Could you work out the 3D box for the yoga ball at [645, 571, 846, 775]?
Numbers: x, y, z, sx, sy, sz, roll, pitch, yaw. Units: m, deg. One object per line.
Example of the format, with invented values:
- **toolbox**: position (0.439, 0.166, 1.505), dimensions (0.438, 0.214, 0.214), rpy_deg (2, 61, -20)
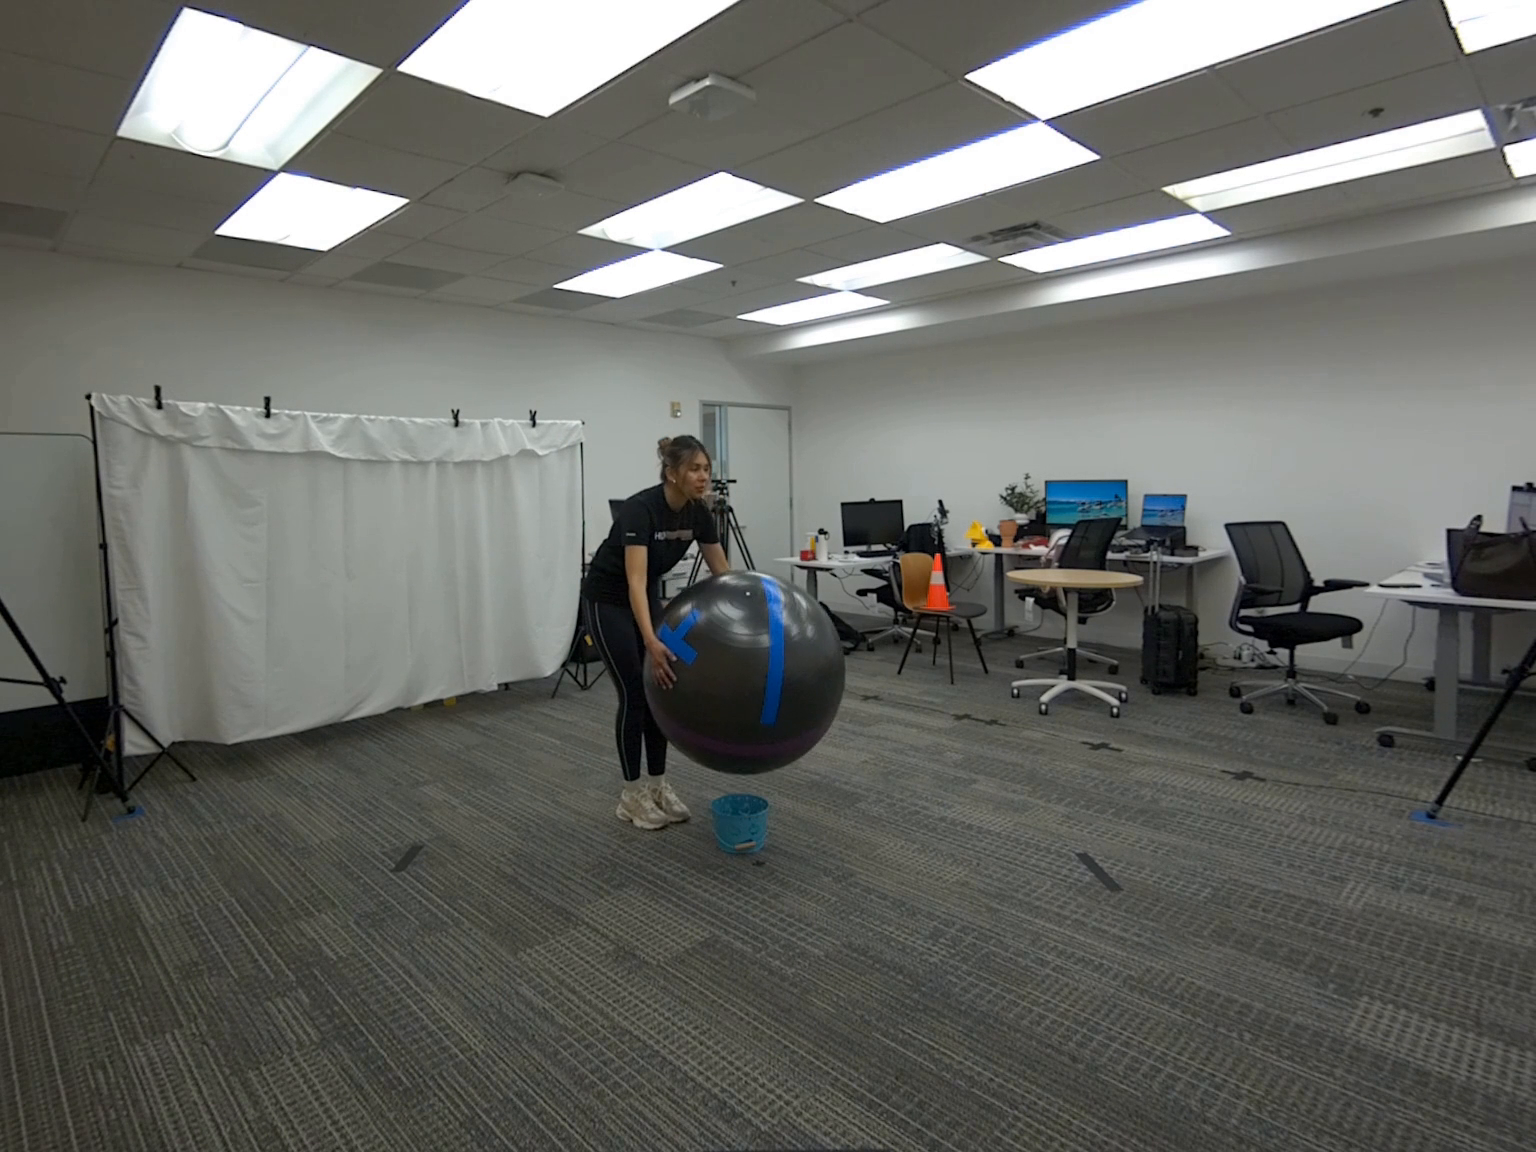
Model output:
- **yoga ball**: position (-0.087, 0.351, 3.208), dimensions (0.757, 0.755, 0.762), rpy_deg (-1, 5, -2)
